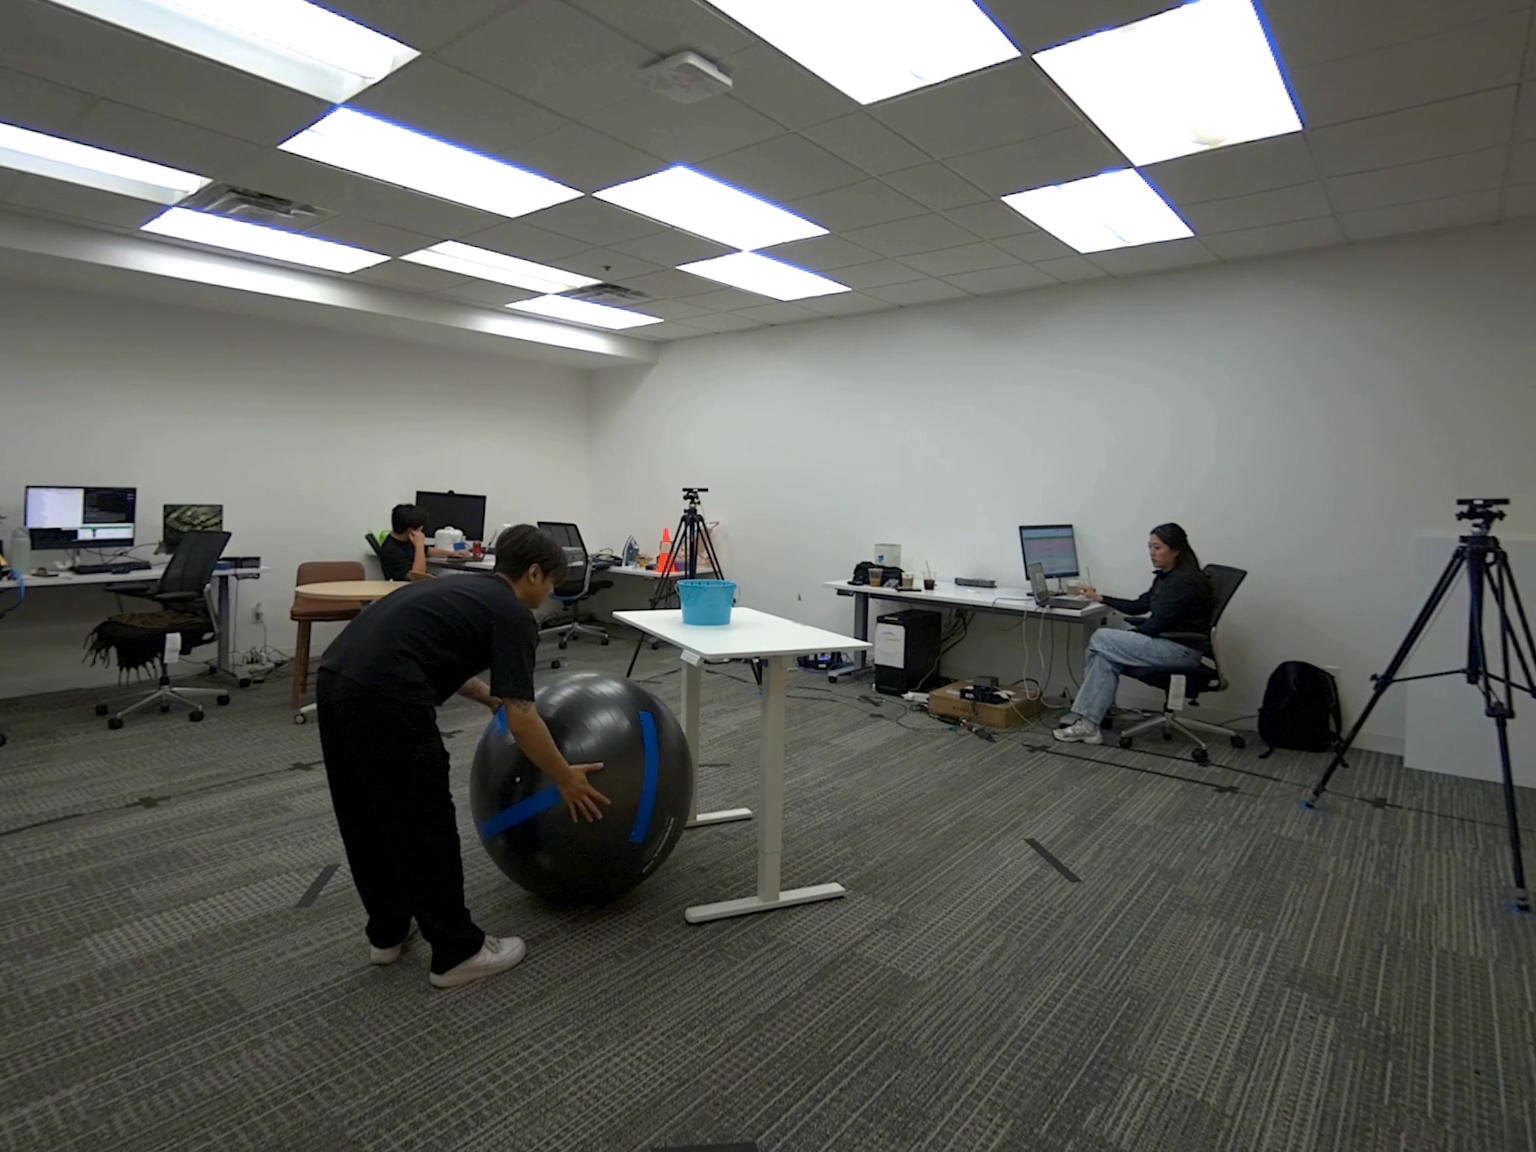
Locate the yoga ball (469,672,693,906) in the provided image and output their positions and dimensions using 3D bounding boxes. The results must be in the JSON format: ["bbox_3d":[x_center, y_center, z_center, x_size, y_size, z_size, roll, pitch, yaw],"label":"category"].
[{"bbox_3d":[-0.650,0.716,2.912,0.757,0.756,0.762,1,4,-2],"label":"yoga ball"}]
